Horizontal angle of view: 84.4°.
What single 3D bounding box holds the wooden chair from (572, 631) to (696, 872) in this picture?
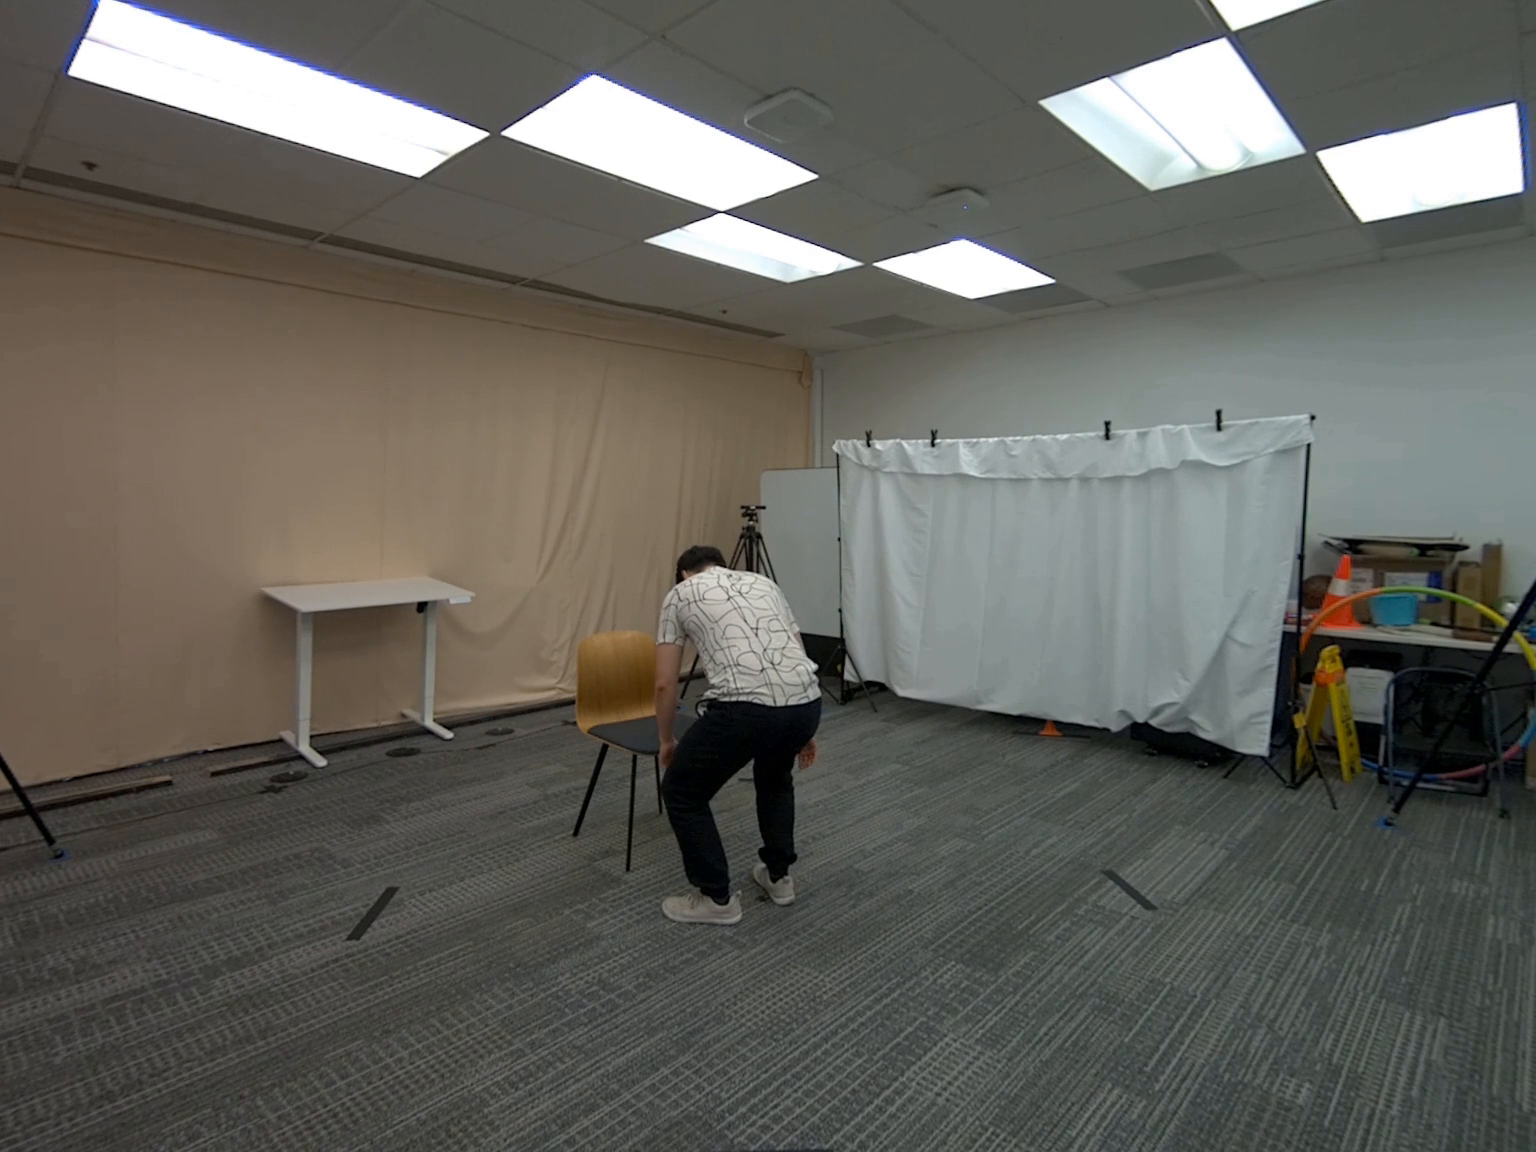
[{"bbox_3d":[-0.507,0.679,3.491,0.464,0.878,0.539,-2,-1,-39],"label":"wooden chair"}]
